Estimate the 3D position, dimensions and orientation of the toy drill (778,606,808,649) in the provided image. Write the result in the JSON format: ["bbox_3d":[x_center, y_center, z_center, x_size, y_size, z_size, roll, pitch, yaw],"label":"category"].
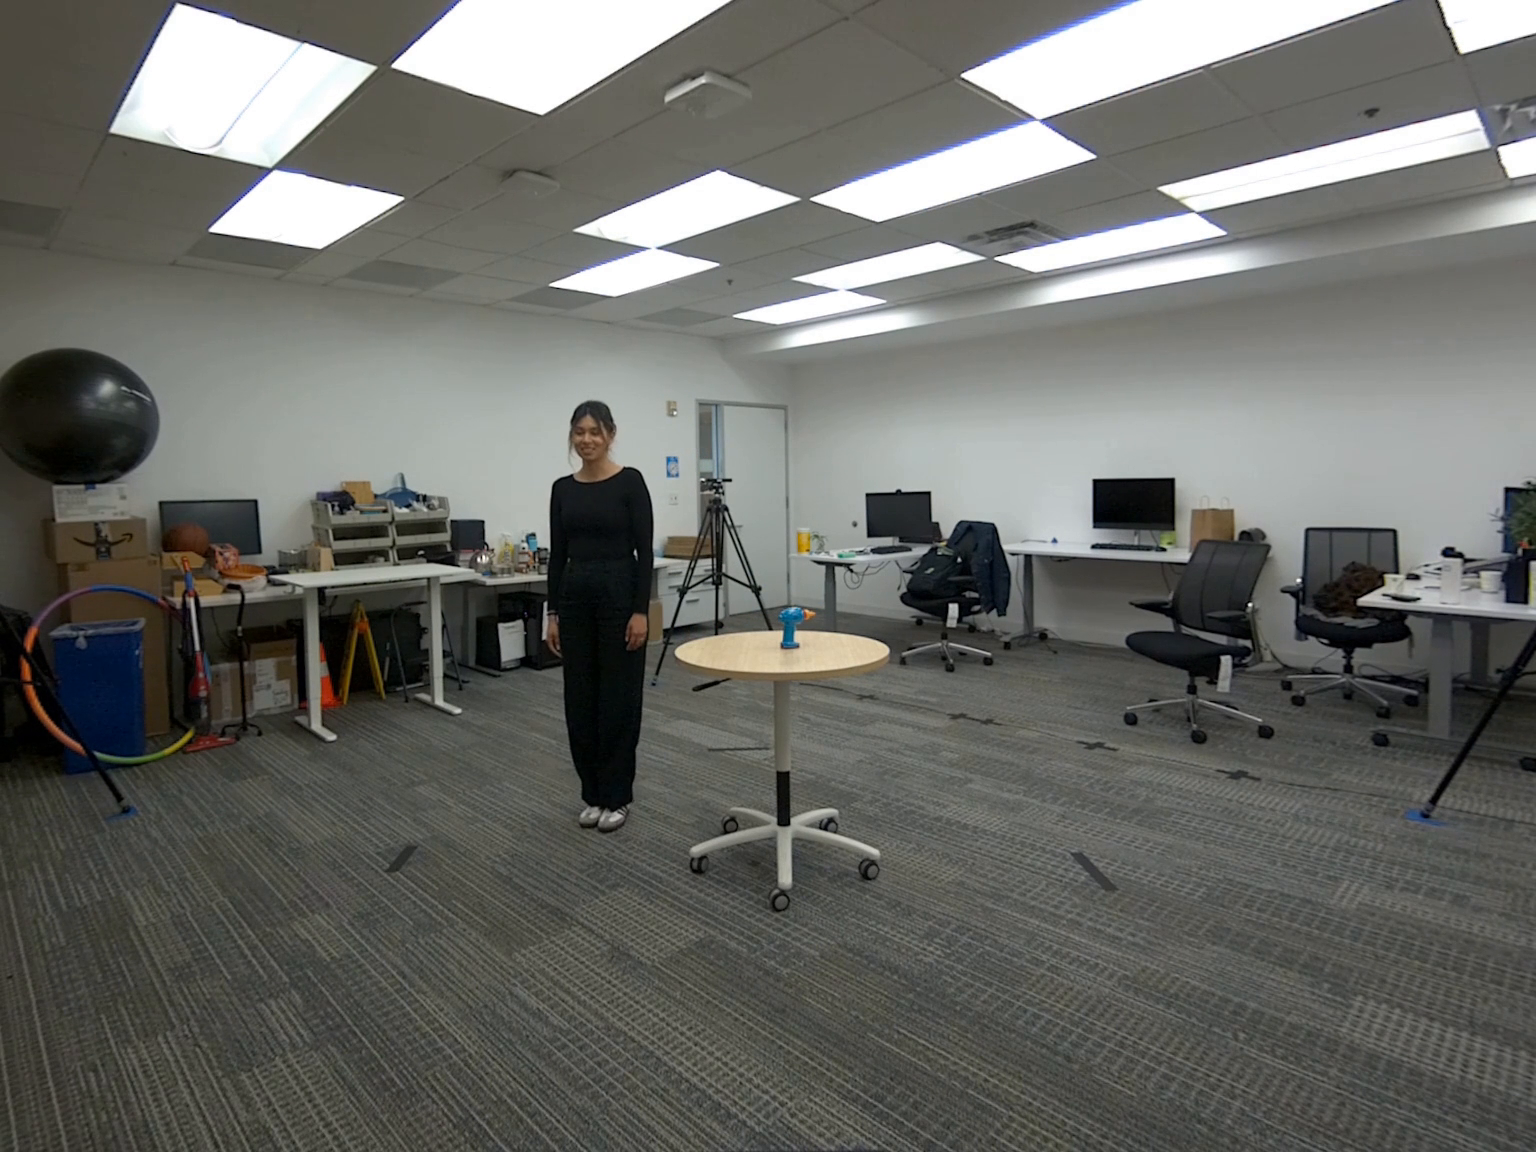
[{"bbox_3d":[0.107,0.182,3.116,0.165,0.145,0.063,-5,4,-39],"label":"toy drill"}]
